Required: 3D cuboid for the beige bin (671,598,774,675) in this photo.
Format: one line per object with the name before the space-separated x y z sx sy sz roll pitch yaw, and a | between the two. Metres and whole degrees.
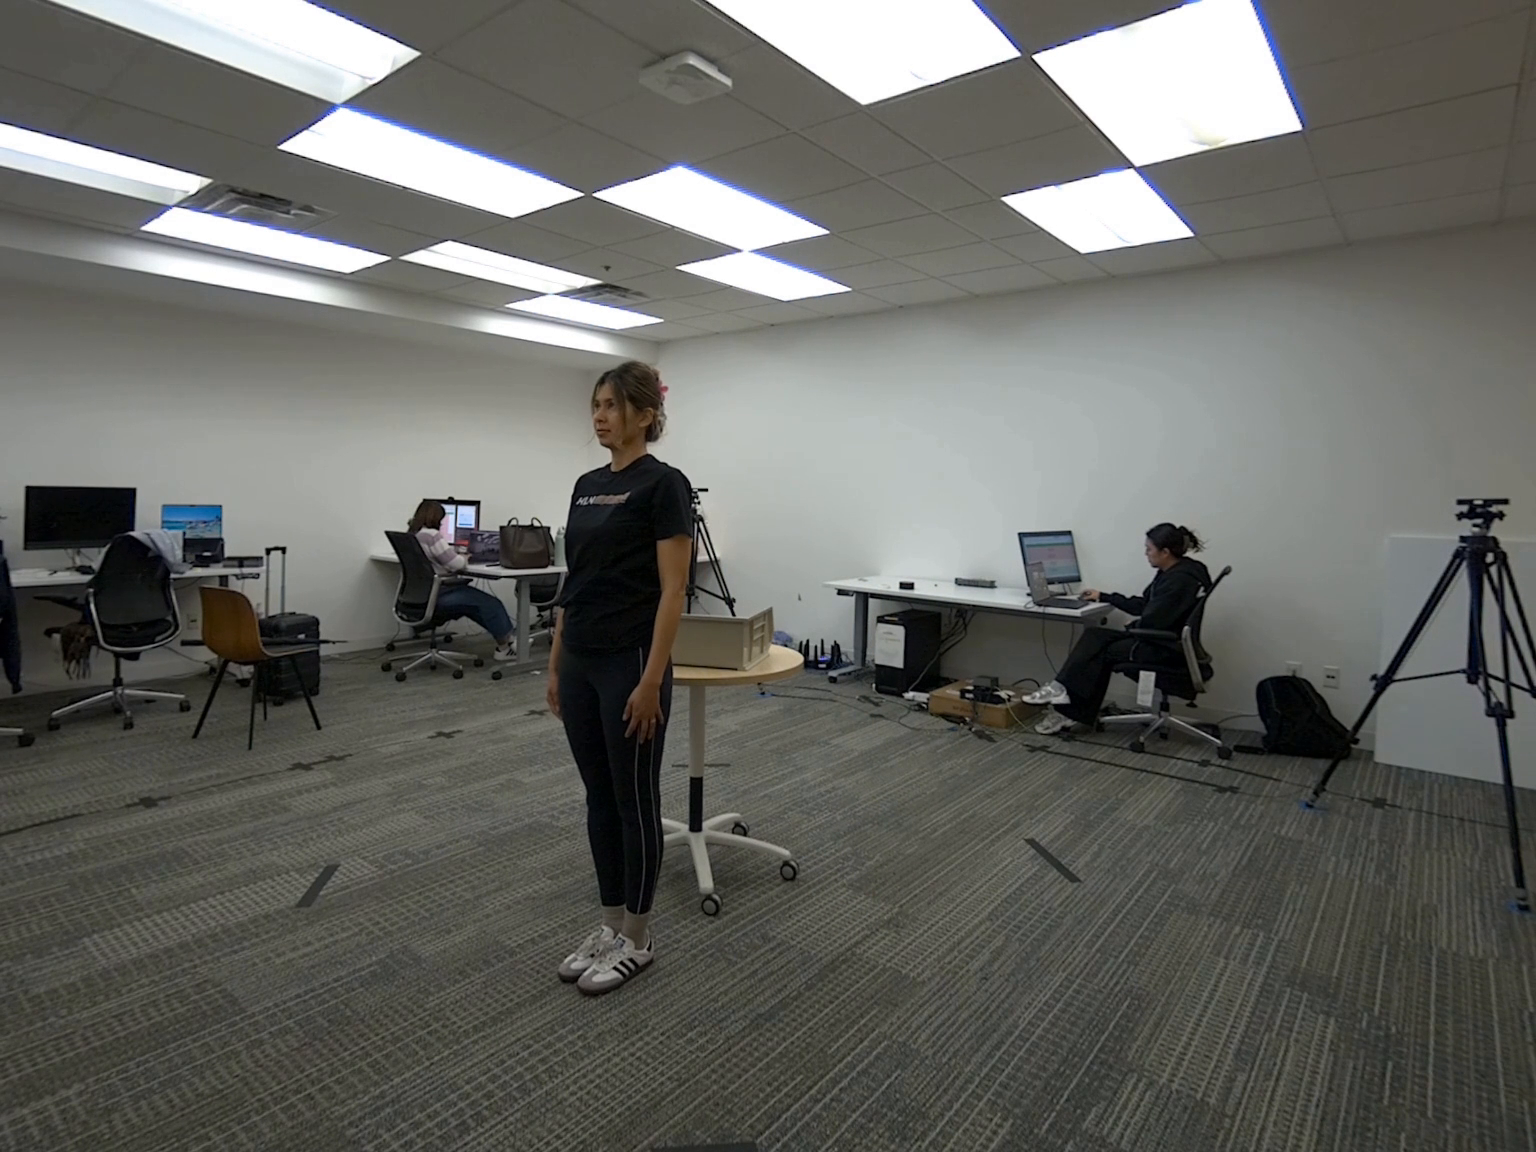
beige bin | -0.234 0.204 3.034 0.430 0.188 0.372 2 6 16
